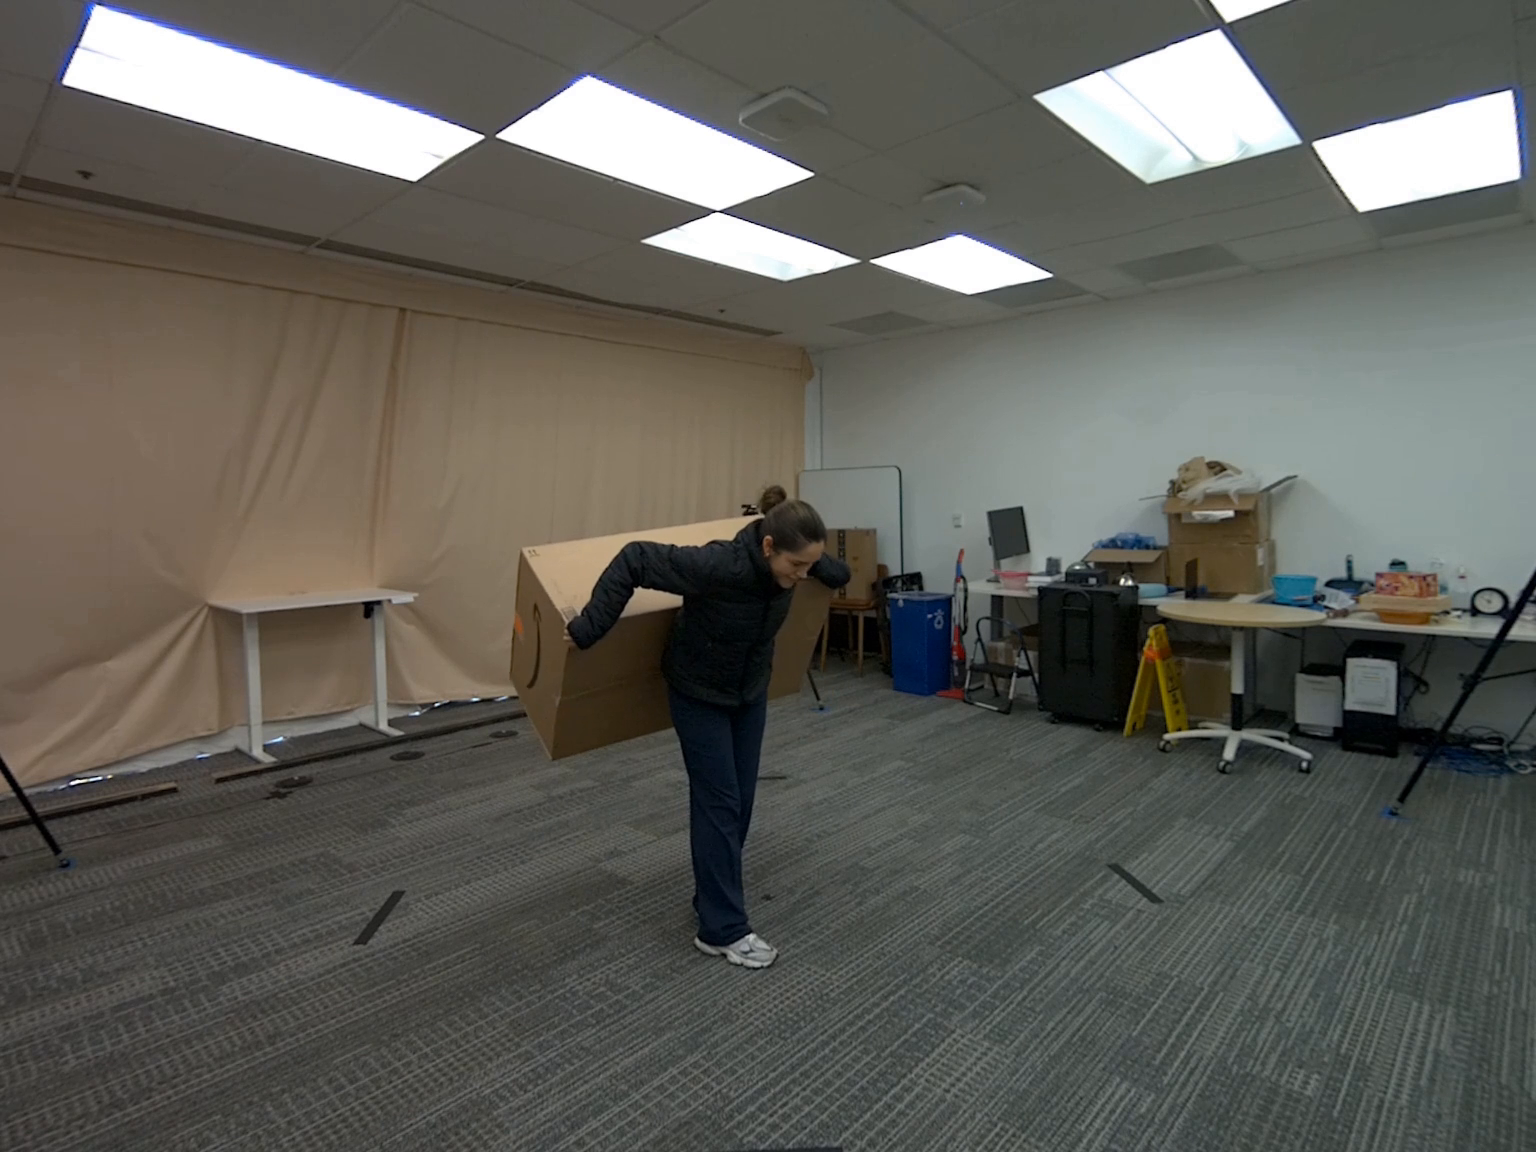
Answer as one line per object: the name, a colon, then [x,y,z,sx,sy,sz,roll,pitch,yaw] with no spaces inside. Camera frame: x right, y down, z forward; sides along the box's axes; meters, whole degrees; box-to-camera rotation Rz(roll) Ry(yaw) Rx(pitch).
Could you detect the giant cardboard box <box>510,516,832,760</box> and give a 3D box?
giant cardboard box: [-0.326,0.177,3.006,1.000,0.572,0.441,-10,41,-31]
